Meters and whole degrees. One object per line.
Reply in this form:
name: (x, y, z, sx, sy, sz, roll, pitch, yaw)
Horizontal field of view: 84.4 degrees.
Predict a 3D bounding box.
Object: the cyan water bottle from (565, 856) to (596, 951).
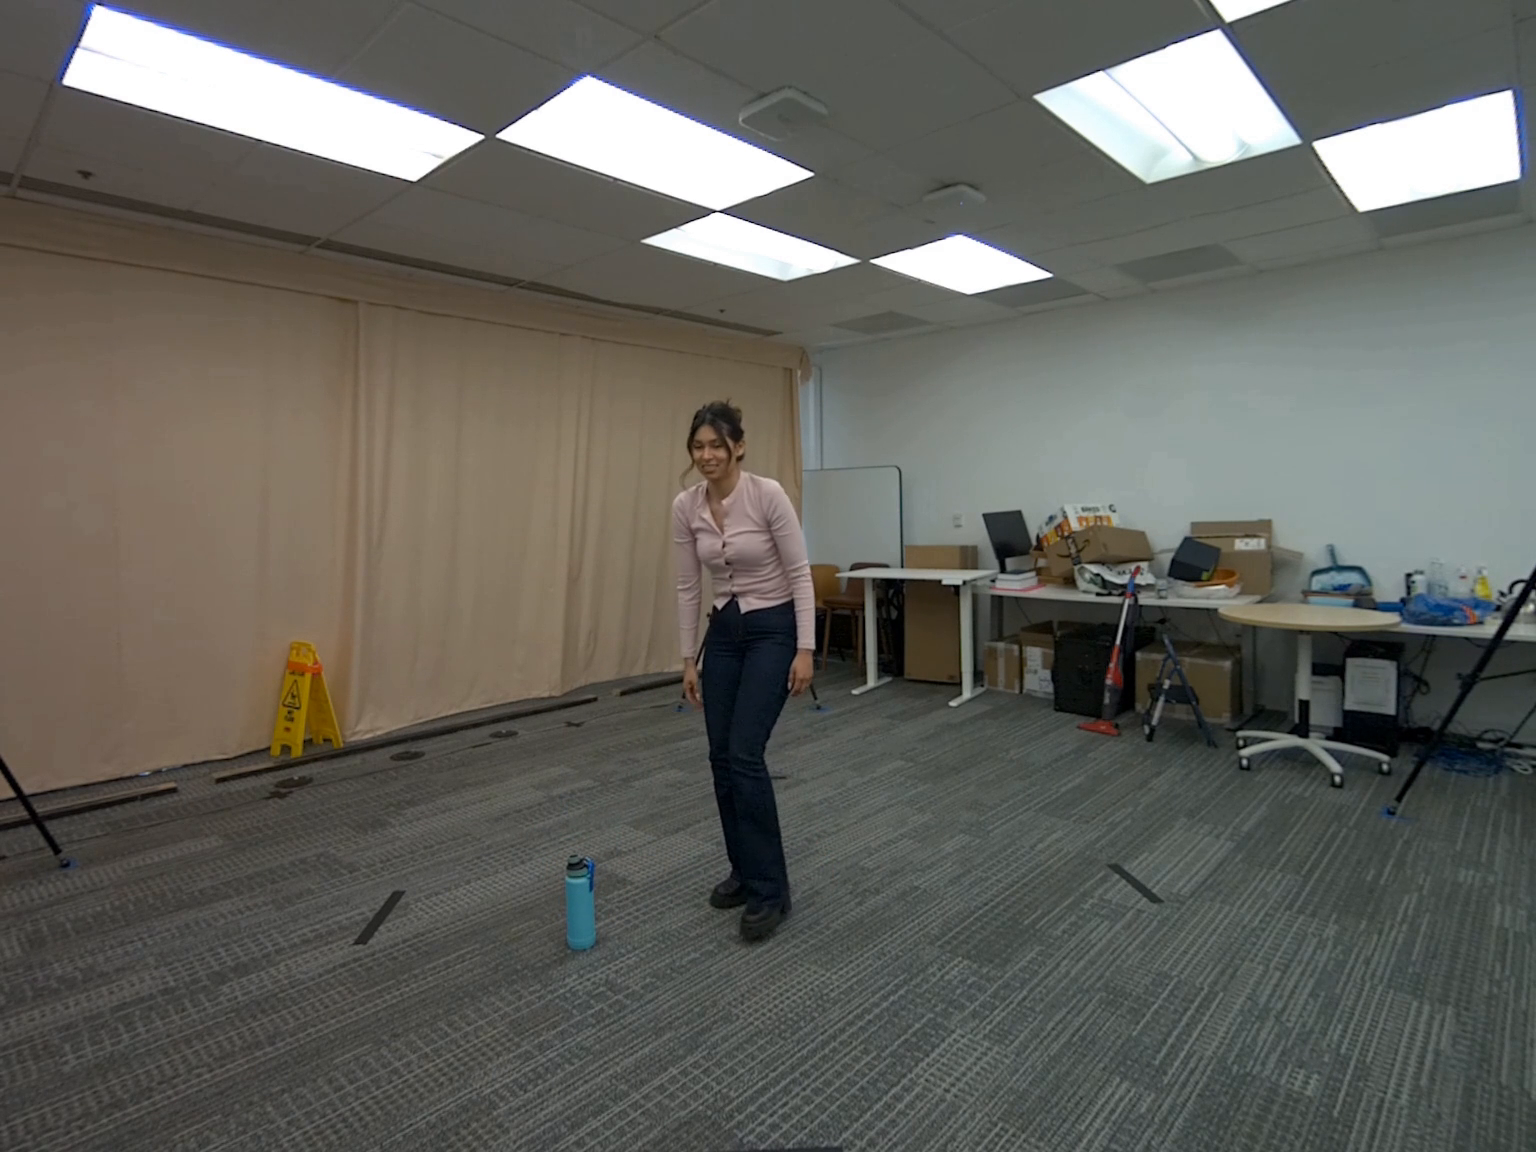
cyan water bottle: (-0.597, 1.043, 2.690, 0.092, 0.283, 0.092, -1, 2, -2)
